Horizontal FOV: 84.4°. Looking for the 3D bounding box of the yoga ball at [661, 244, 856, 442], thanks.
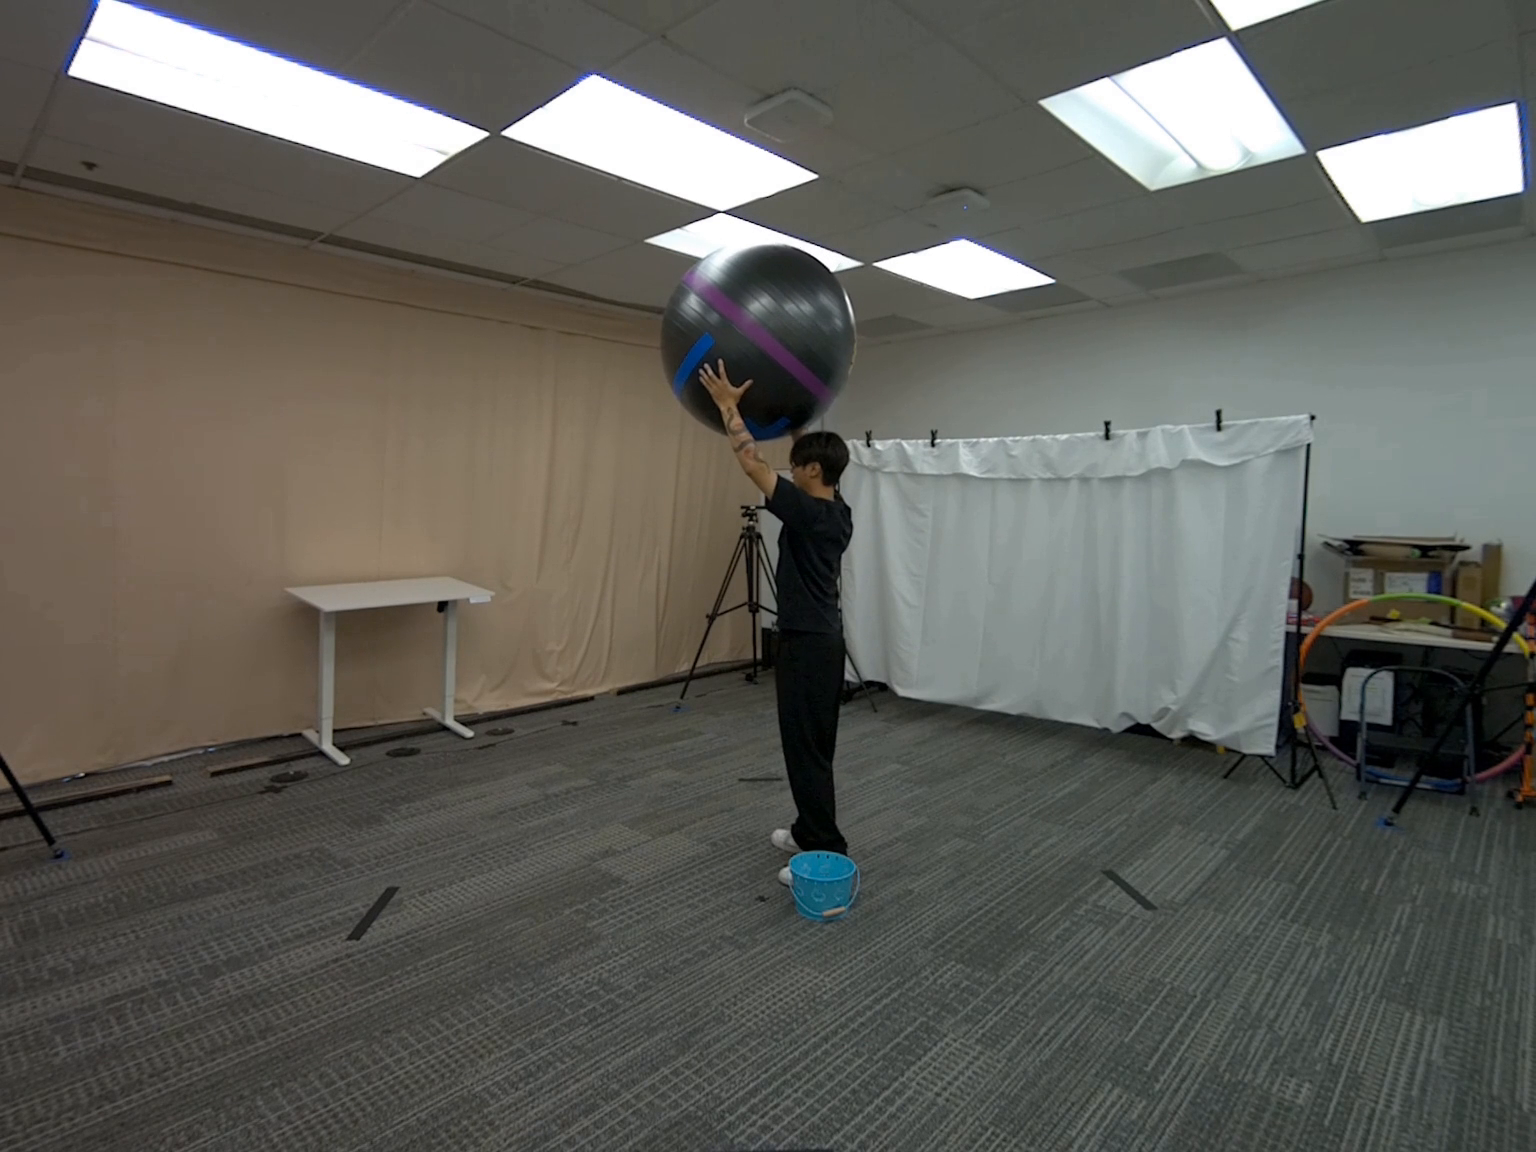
[{"bbox_3d":[-0.037,-0.906,3.296,0.757,0.756,0.760,0,4,-2],"label":"yoga ball"}]
